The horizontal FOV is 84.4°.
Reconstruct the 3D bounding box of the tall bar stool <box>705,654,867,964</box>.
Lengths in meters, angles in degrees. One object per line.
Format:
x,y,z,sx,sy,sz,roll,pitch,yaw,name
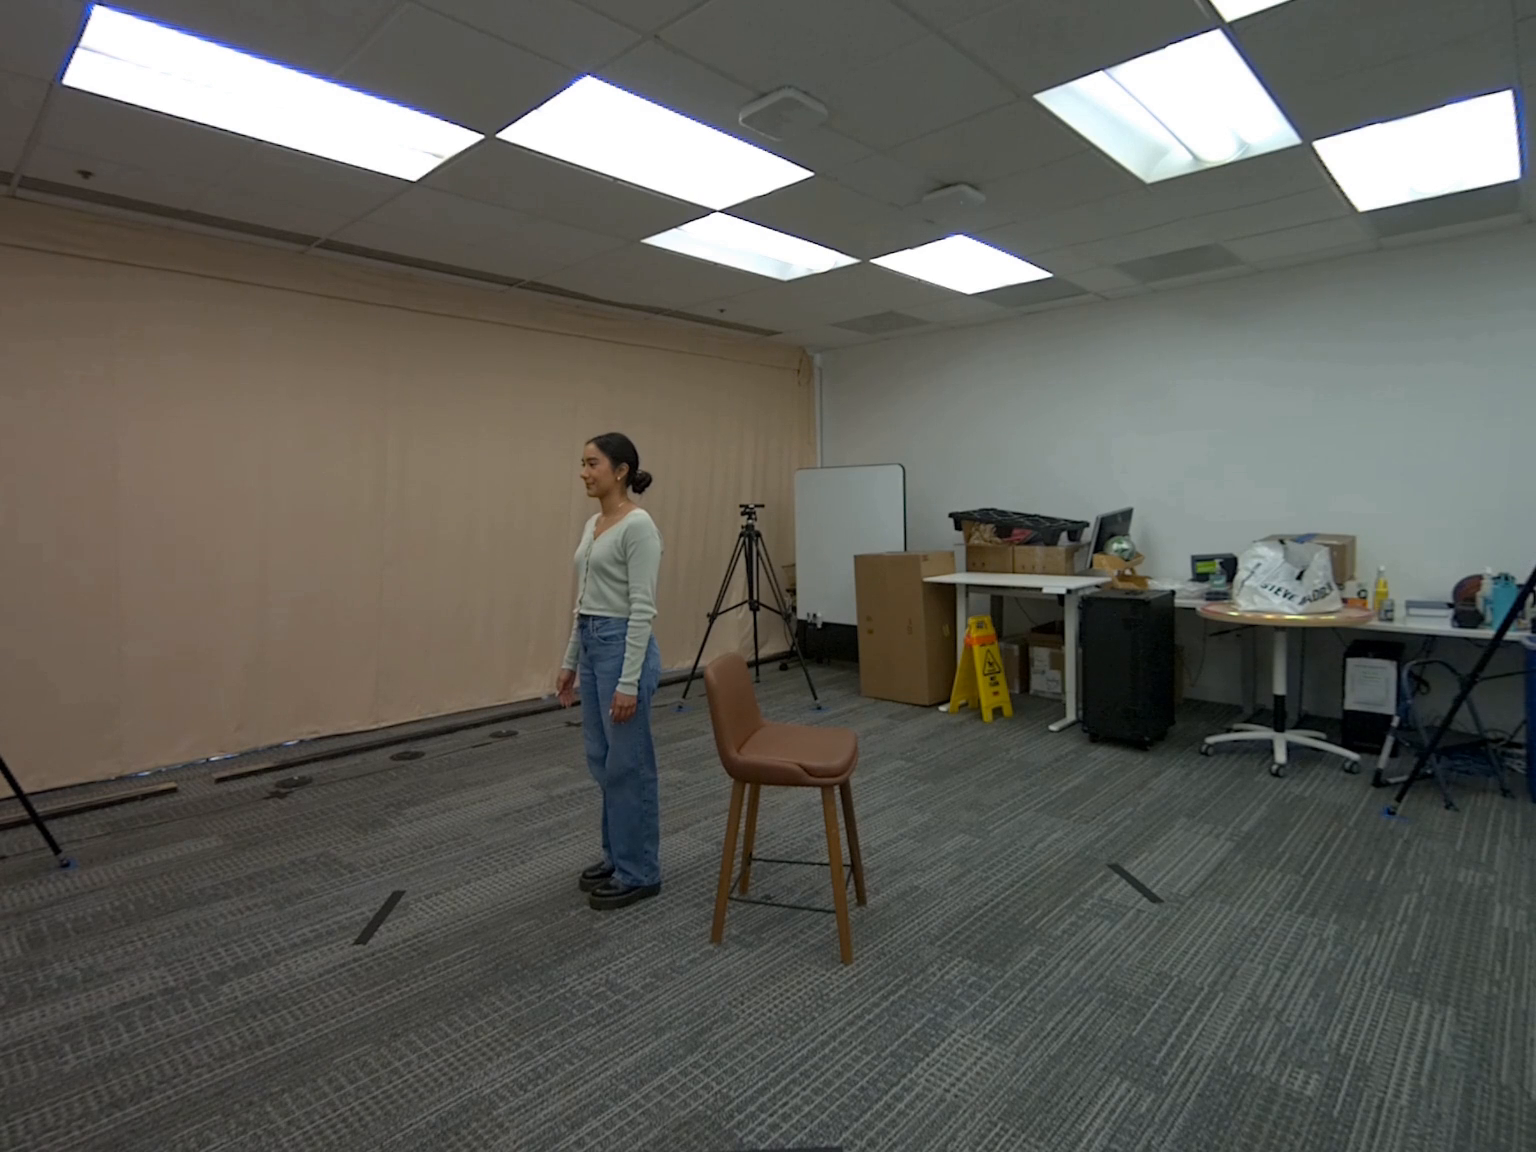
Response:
0.063,0.718,2.771,0.476,0.888,0.449,-2,3,16,tall bar stool
